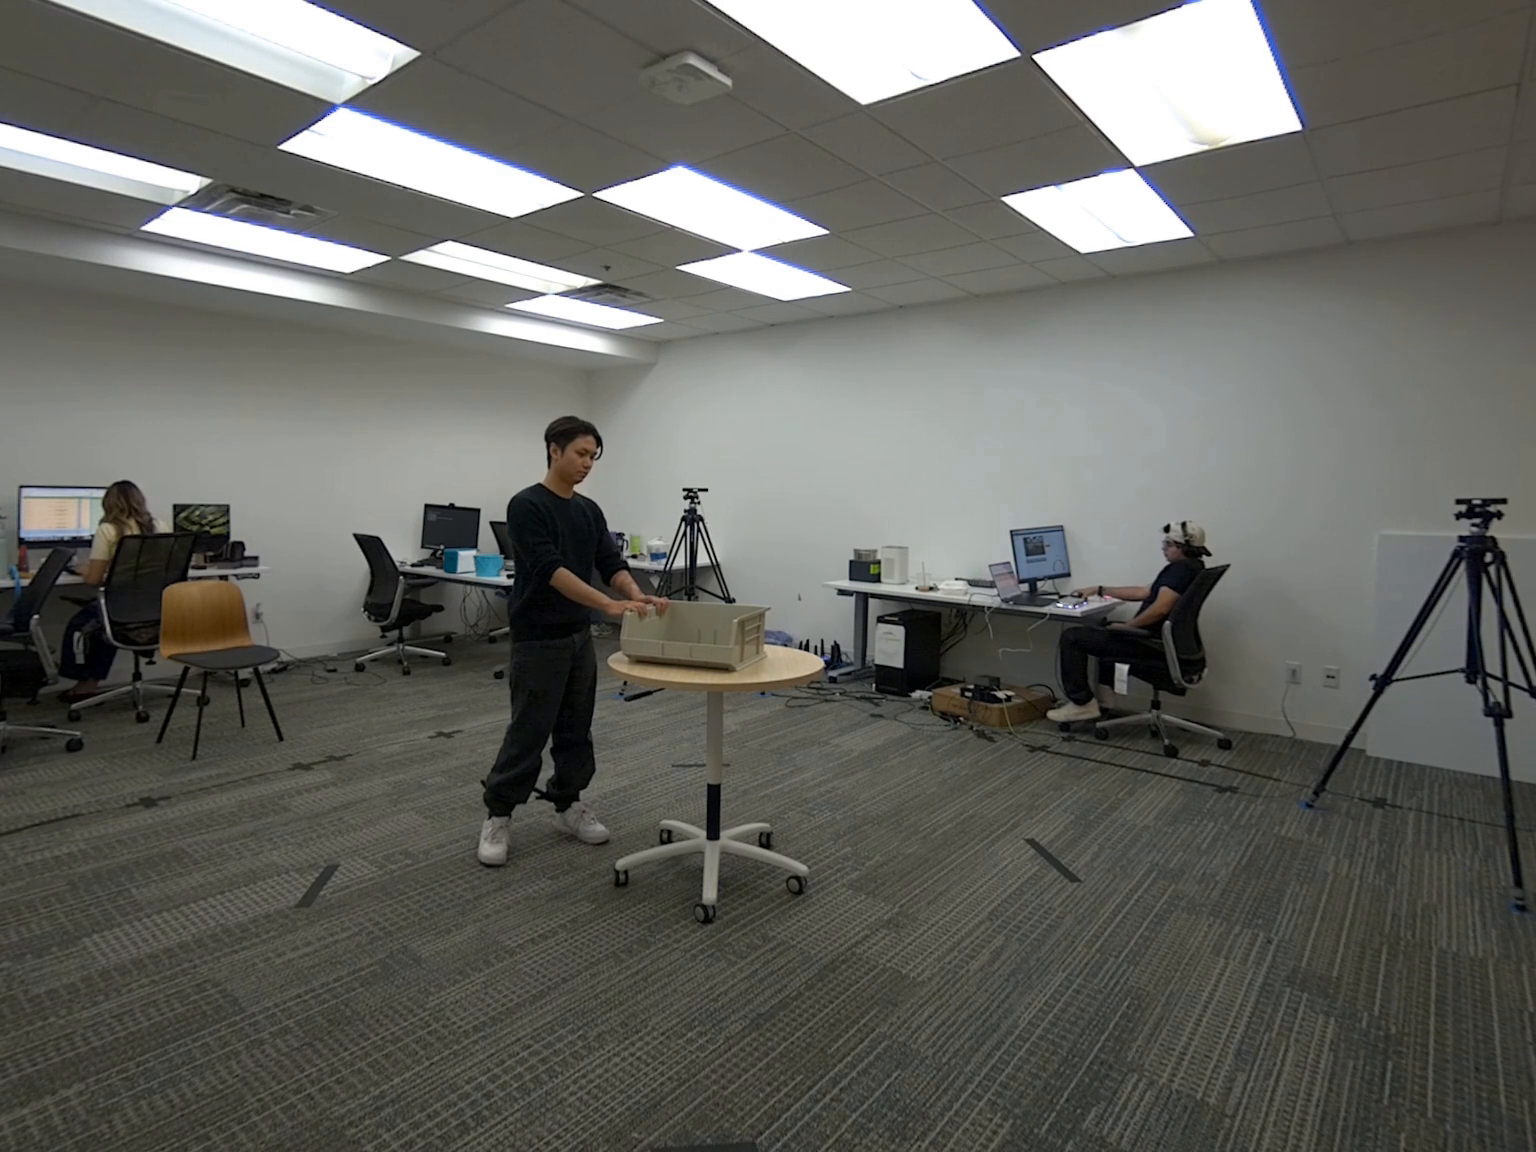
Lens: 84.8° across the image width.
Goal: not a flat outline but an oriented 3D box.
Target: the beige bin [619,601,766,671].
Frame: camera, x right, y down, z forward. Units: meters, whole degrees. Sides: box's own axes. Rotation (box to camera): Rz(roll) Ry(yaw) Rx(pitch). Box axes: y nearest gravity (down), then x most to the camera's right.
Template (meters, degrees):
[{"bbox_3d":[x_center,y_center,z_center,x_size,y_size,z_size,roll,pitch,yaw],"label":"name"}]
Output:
[{"bbox_3d":[-0.261,0.204,3.011,0.431,0.189,0.370,2,3,20],"label":"beige bin"}]
